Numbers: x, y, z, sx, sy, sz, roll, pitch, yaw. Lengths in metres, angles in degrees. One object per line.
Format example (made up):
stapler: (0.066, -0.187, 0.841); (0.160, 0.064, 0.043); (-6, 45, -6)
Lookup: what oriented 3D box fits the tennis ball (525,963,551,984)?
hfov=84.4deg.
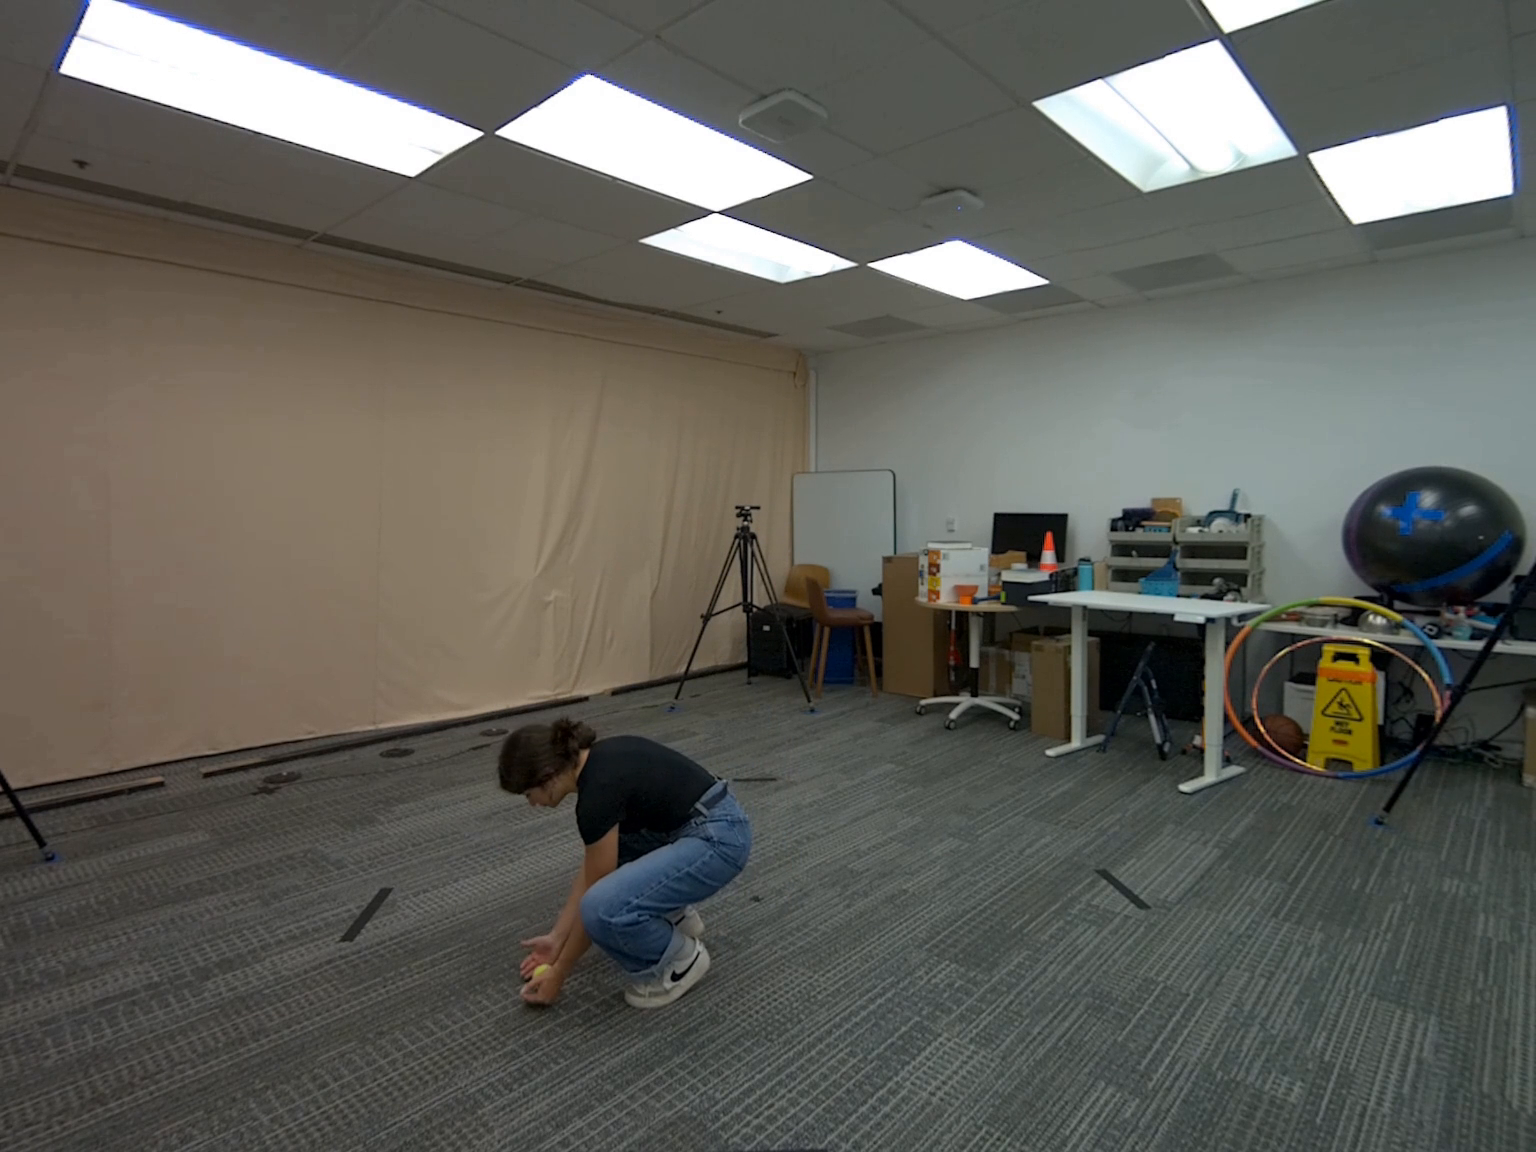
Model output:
tennis ball: (-0.639, 1.145, 2.430); (0.066, 0.066, 0.067); (0, 4, -2)
